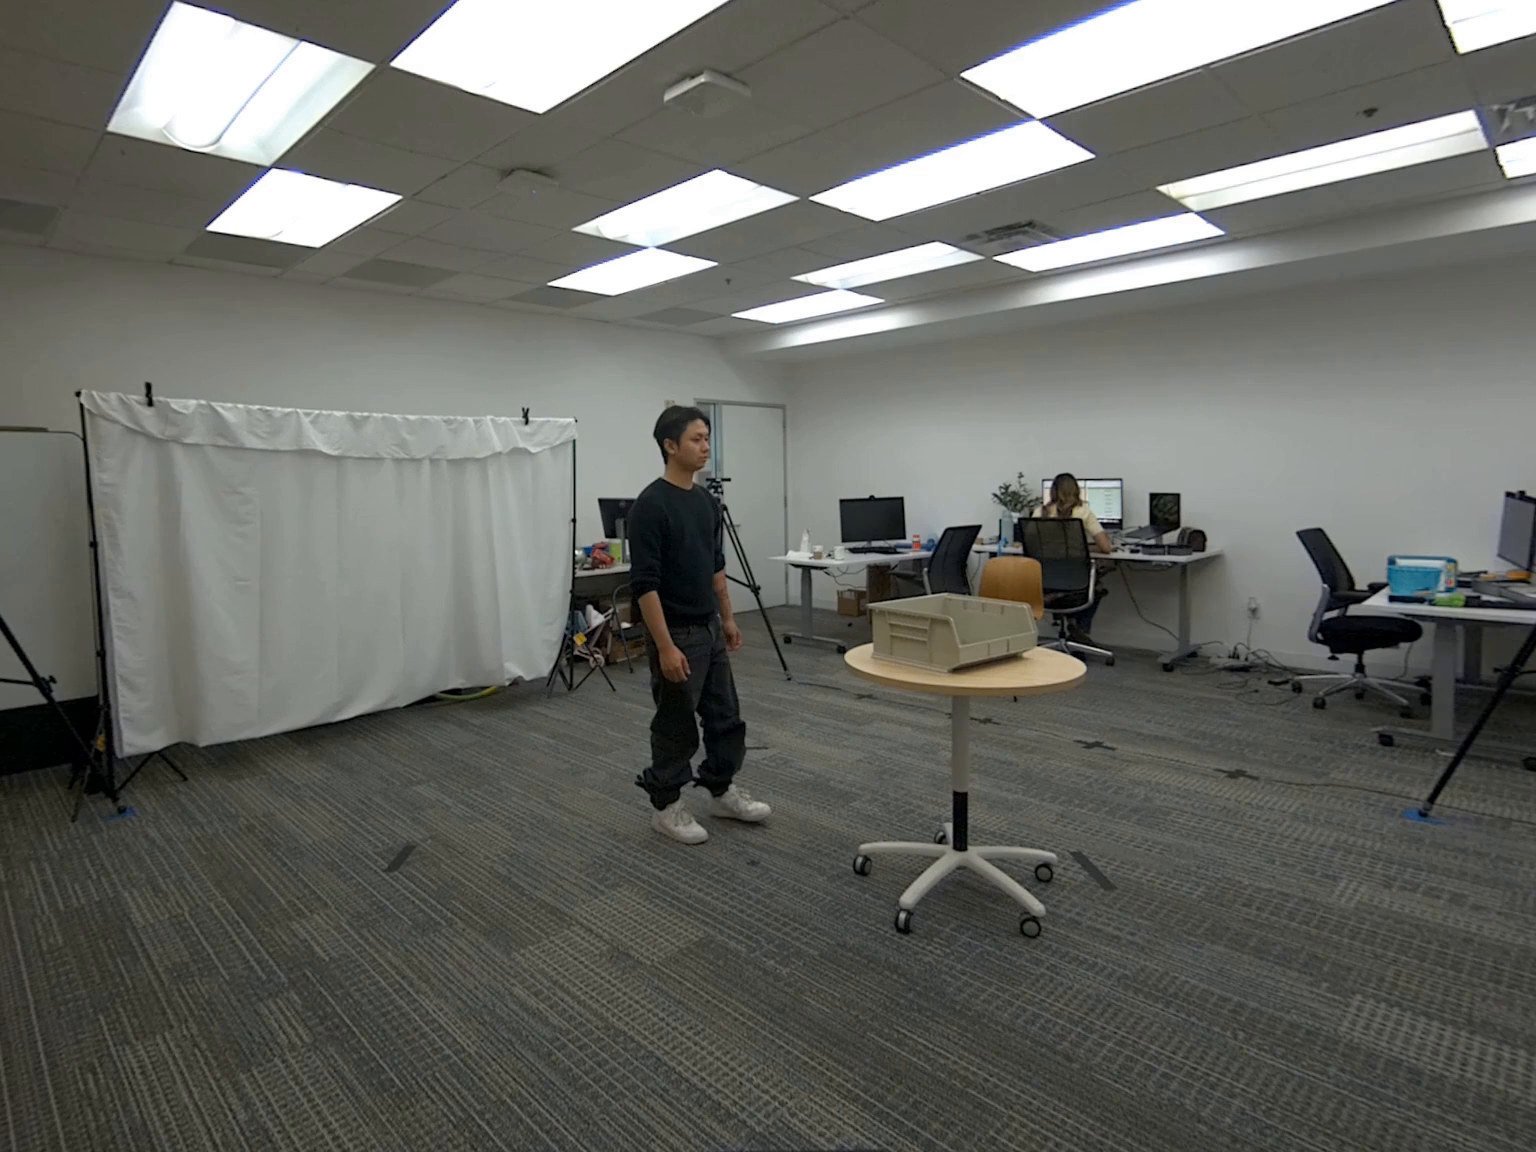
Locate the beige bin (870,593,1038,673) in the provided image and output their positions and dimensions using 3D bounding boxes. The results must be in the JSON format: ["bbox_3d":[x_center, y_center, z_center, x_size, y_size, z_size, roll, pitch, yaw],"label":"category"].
[{"bbox_3d":[0.615,0.183,2.854,0.411,0.188,0.388,-6,6,-38],"label":"beige bin"}]
